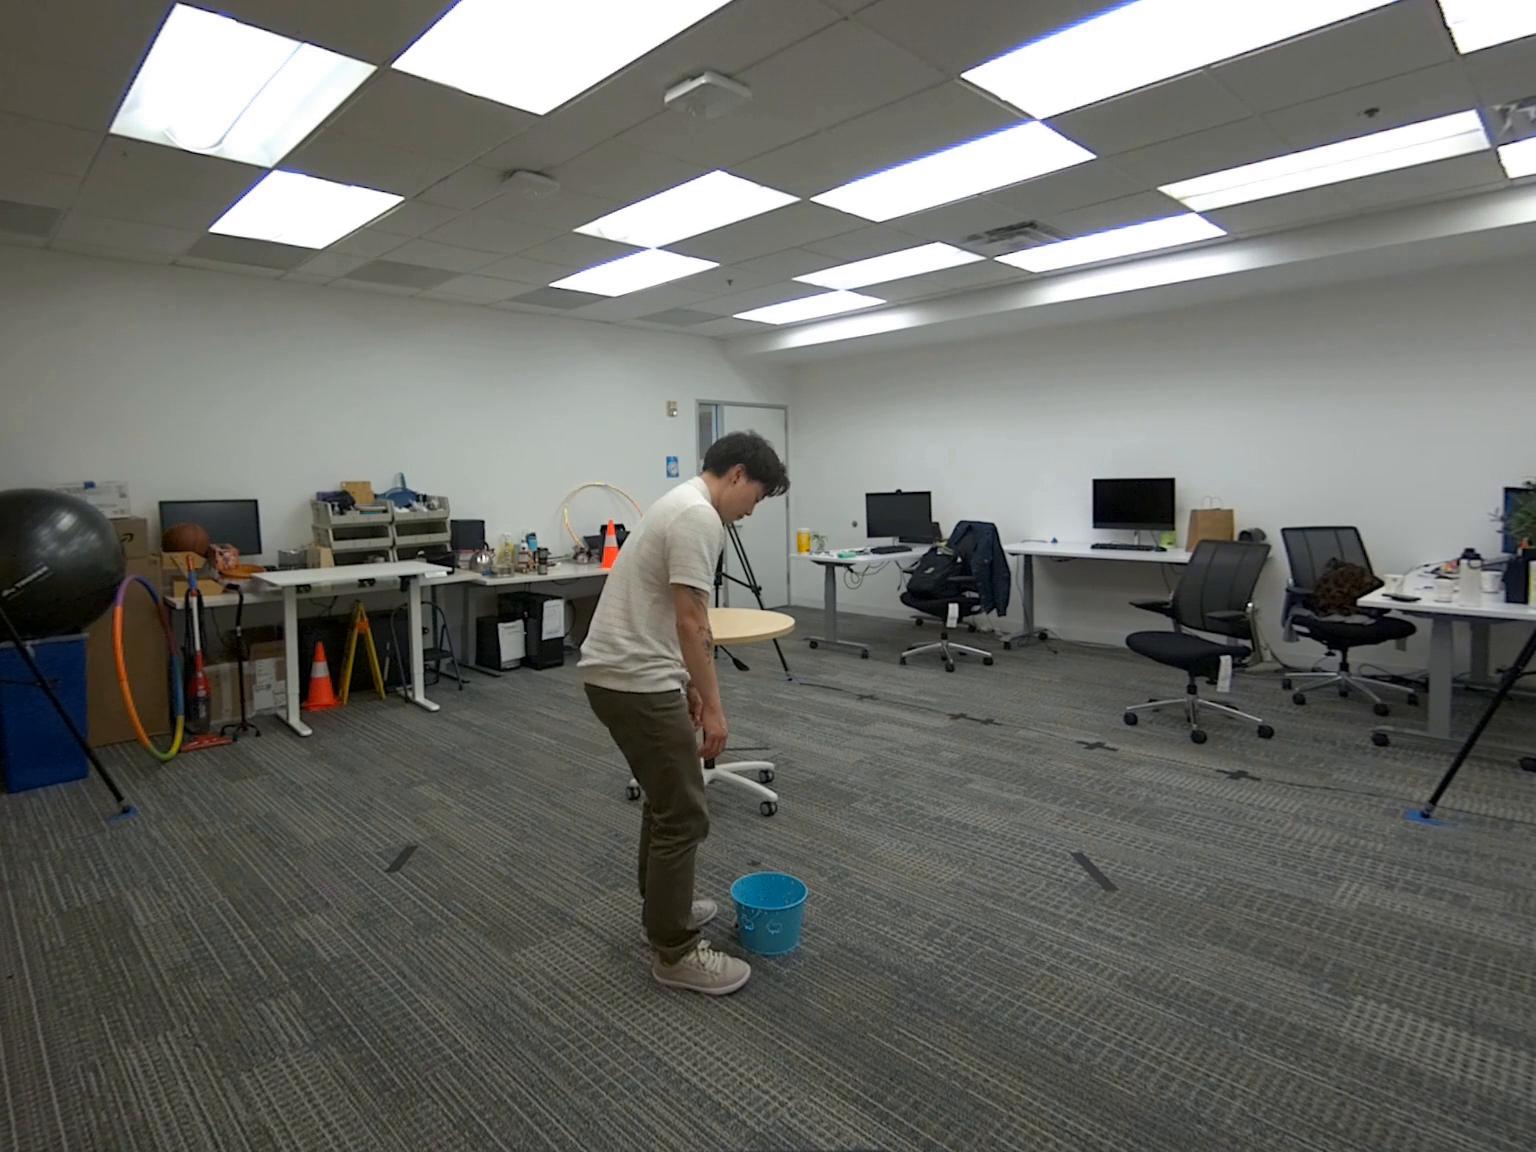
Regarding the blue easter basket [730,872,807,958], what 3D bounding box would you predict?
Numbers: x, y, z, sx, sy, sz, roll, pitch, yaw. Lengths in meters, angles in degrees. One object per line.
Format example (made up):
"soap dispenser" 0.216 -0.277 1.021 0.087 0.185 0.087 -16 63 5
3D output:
"blue easter basket" 0.011 1.026 2.598 0.243 0.155 0.245 -1 6 -2
